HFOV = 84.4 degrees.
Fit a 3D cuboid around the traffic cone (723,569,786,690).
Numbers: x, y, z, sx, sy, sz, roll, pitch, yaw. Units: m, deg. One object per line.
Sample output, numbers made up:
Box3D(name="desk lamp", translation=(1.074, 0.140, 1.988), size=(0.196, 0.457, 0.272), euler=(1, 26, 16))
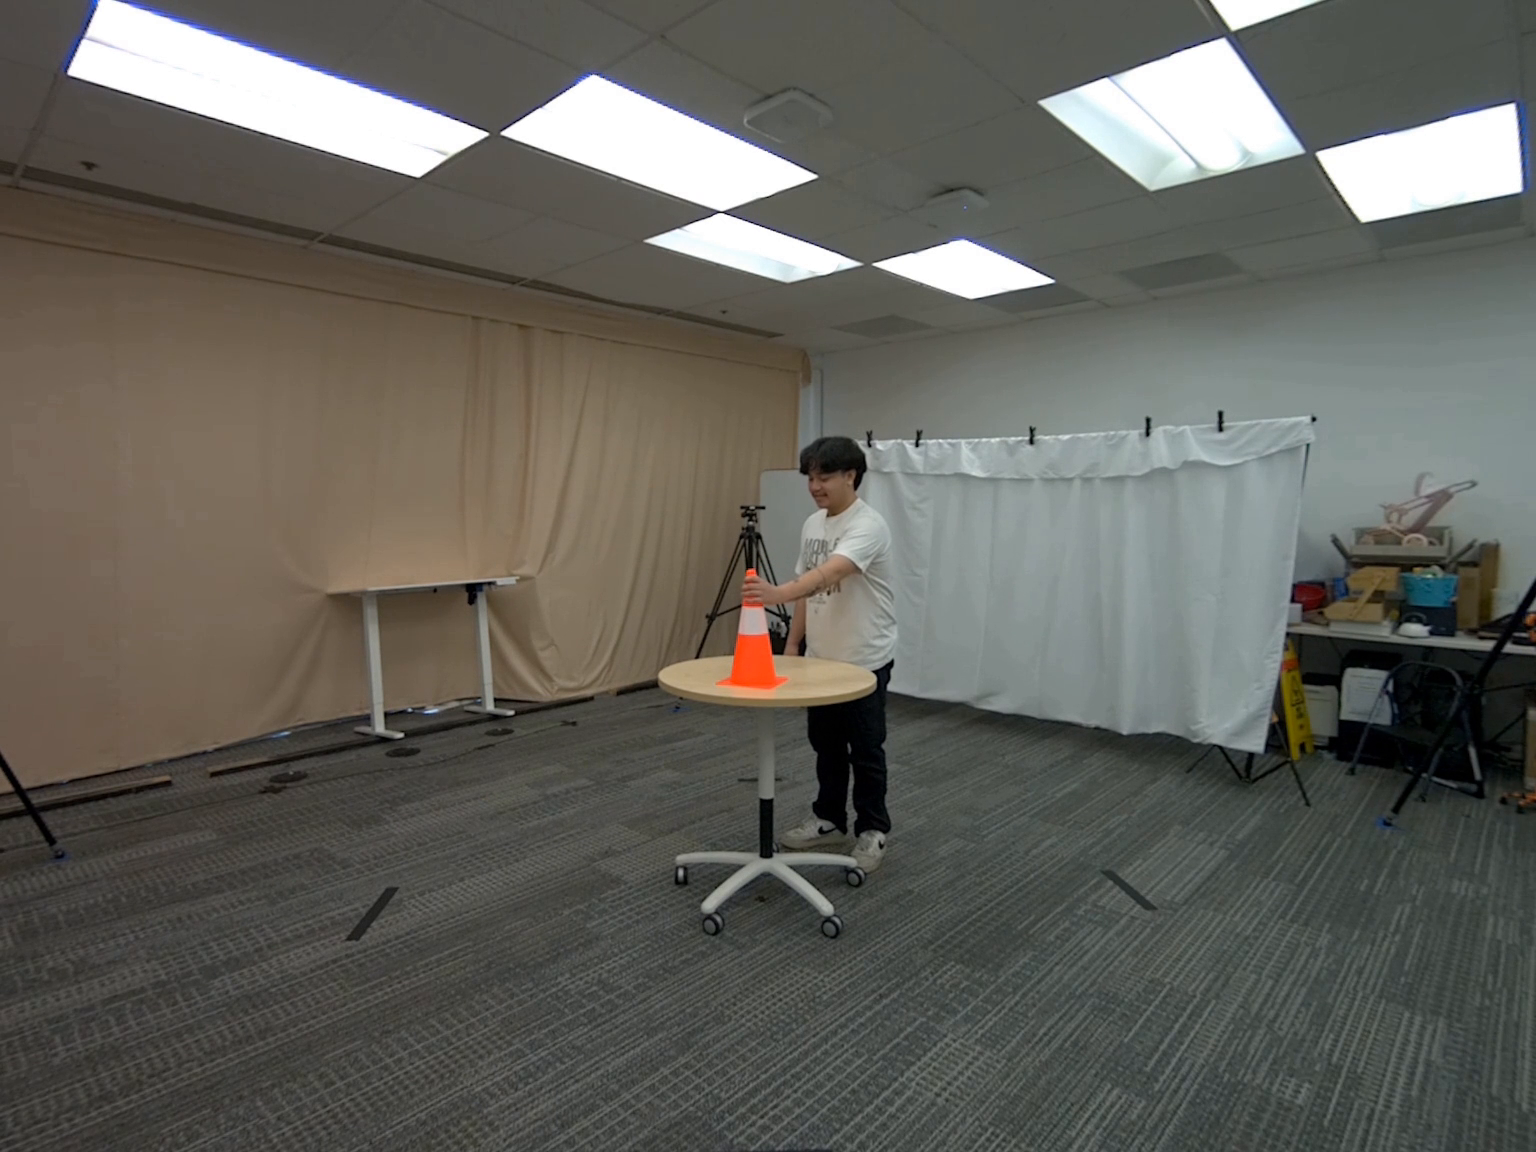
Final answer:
Box3D(name="traffic cone", translation=(-0.046, 0.172, 2.847), size=(0.209, 0.383, 0.199), euler=(0, 2, 20))
